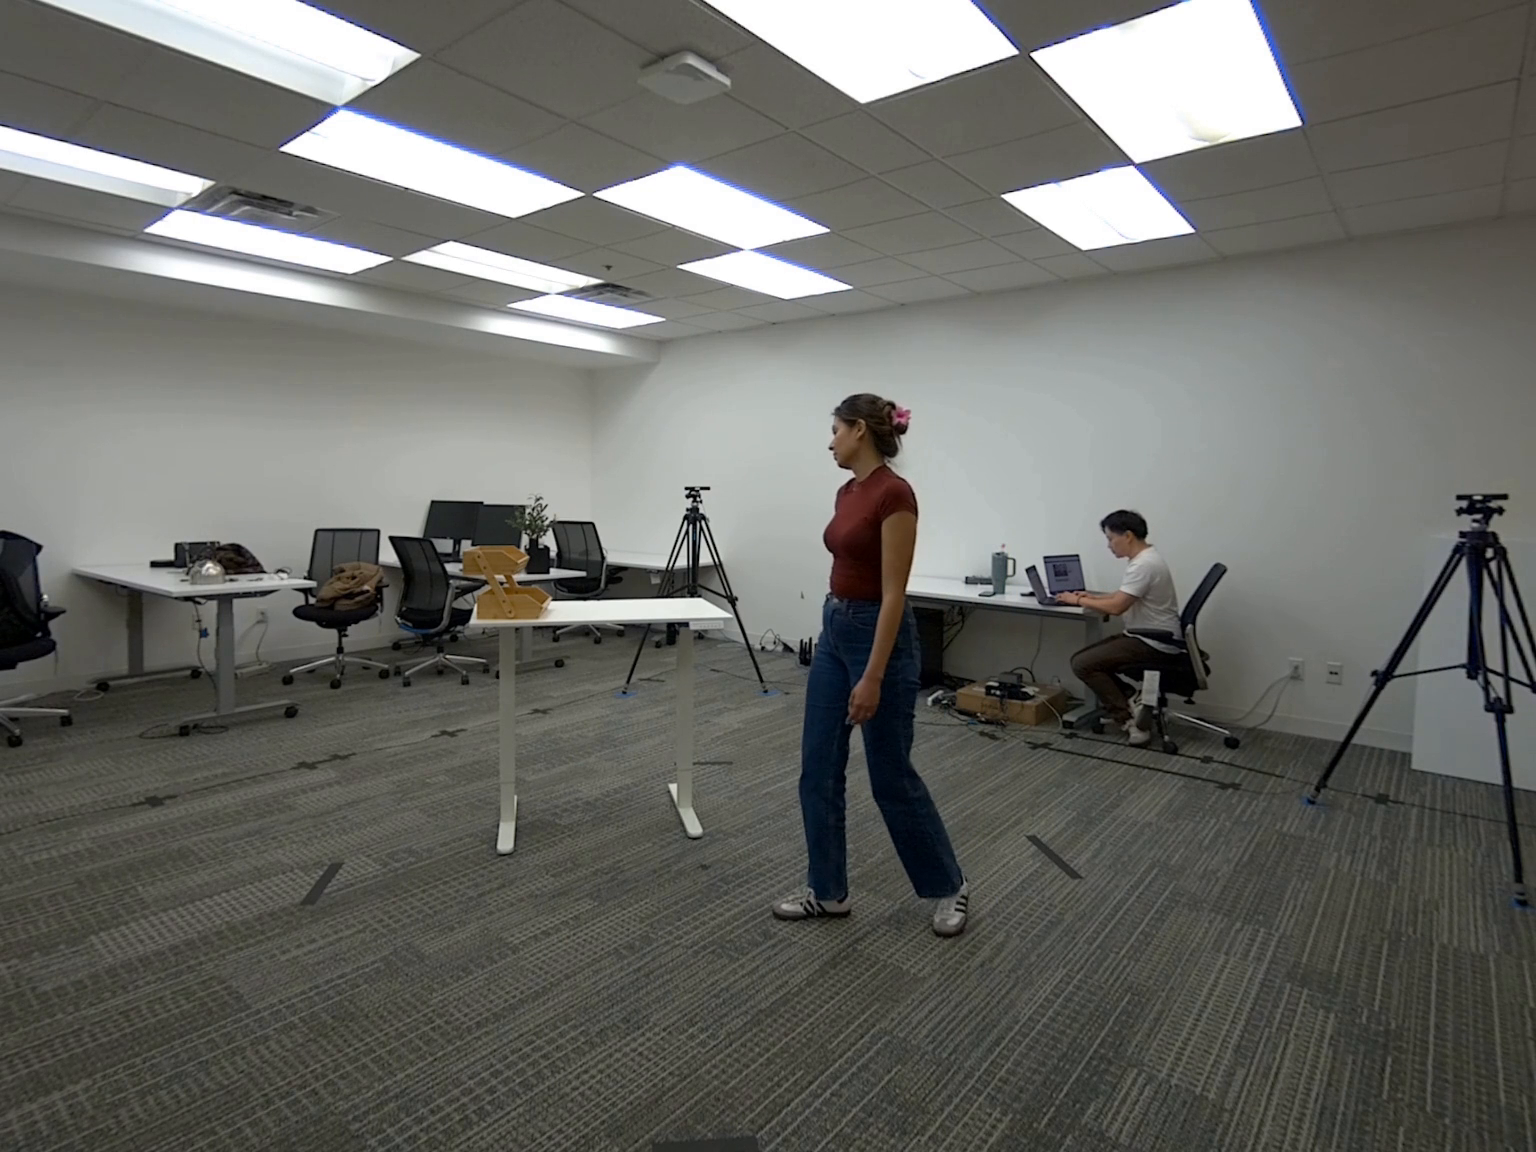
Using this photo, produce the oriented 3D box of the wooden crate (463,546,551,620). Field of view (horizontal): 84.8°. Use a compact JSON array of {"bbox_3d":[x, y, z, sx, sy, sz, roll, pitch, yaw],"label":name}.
[{"bbox_3d":[-1.038,0.017,3.372,0.300,0.272,0.328,0,4,-7],"label":"wooden crate"}]
